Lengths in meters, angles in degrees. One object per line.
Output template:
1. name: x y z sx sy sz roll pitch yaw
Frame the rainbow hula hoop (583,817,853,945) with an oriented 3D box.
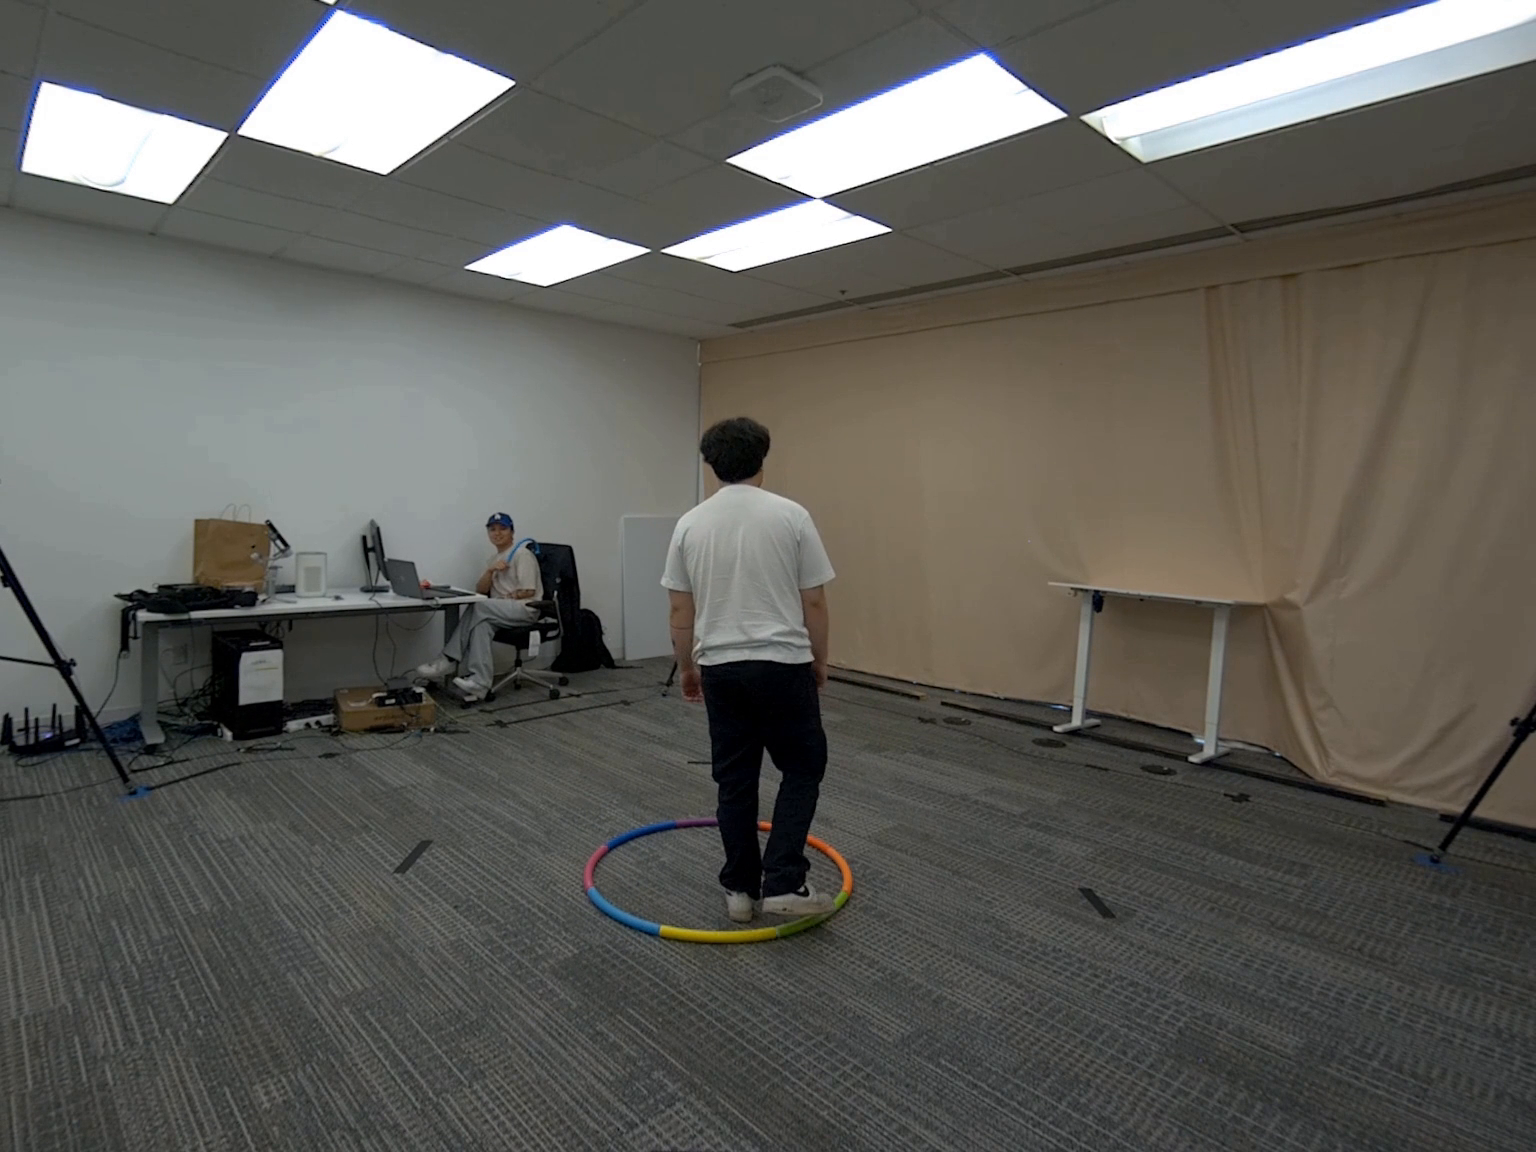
1. rainbow hula hoop: -0.191 1.082 3.111 0.985 0.051 0.989 1 5 -1
